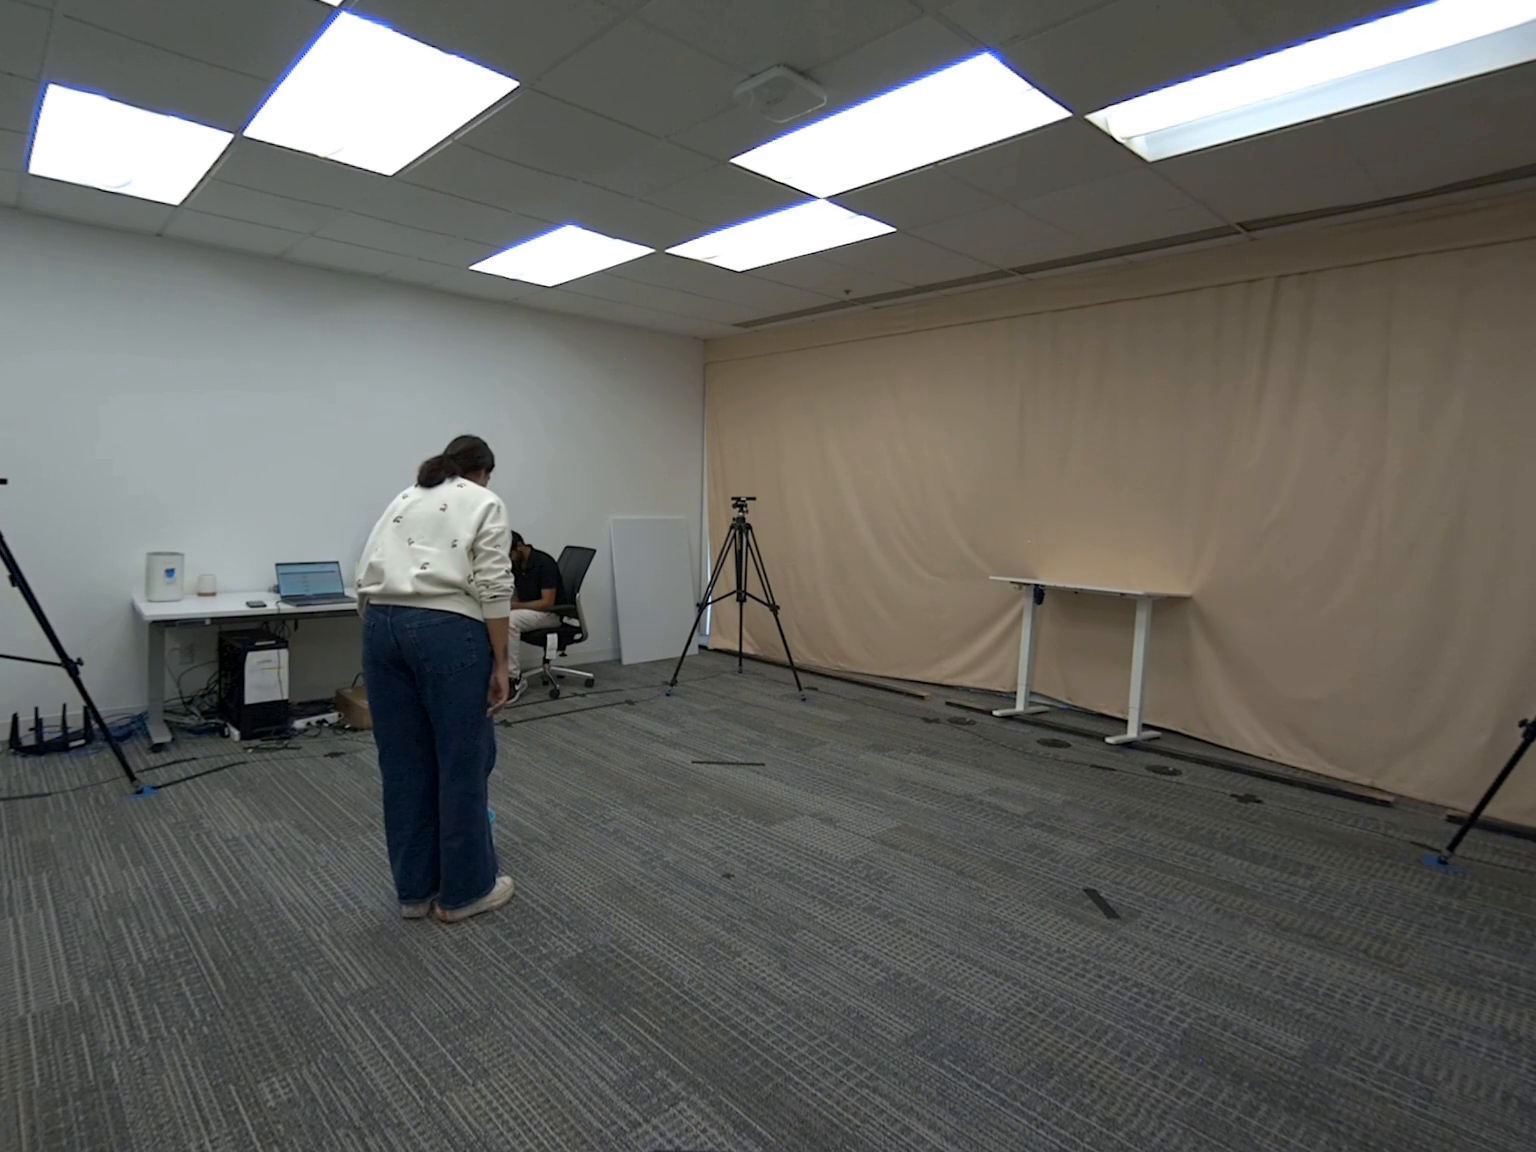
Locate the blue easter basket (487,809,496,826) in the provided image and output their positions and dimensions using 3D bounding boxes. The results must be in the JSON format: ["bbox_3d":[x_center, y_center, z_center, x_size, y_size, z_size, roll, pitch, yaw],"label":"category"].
[{"bbox_3d":[-1.166,1.003,3.222,0.243,0.155,0.244,2,5,-1],"label":"blue easter basket"}]
